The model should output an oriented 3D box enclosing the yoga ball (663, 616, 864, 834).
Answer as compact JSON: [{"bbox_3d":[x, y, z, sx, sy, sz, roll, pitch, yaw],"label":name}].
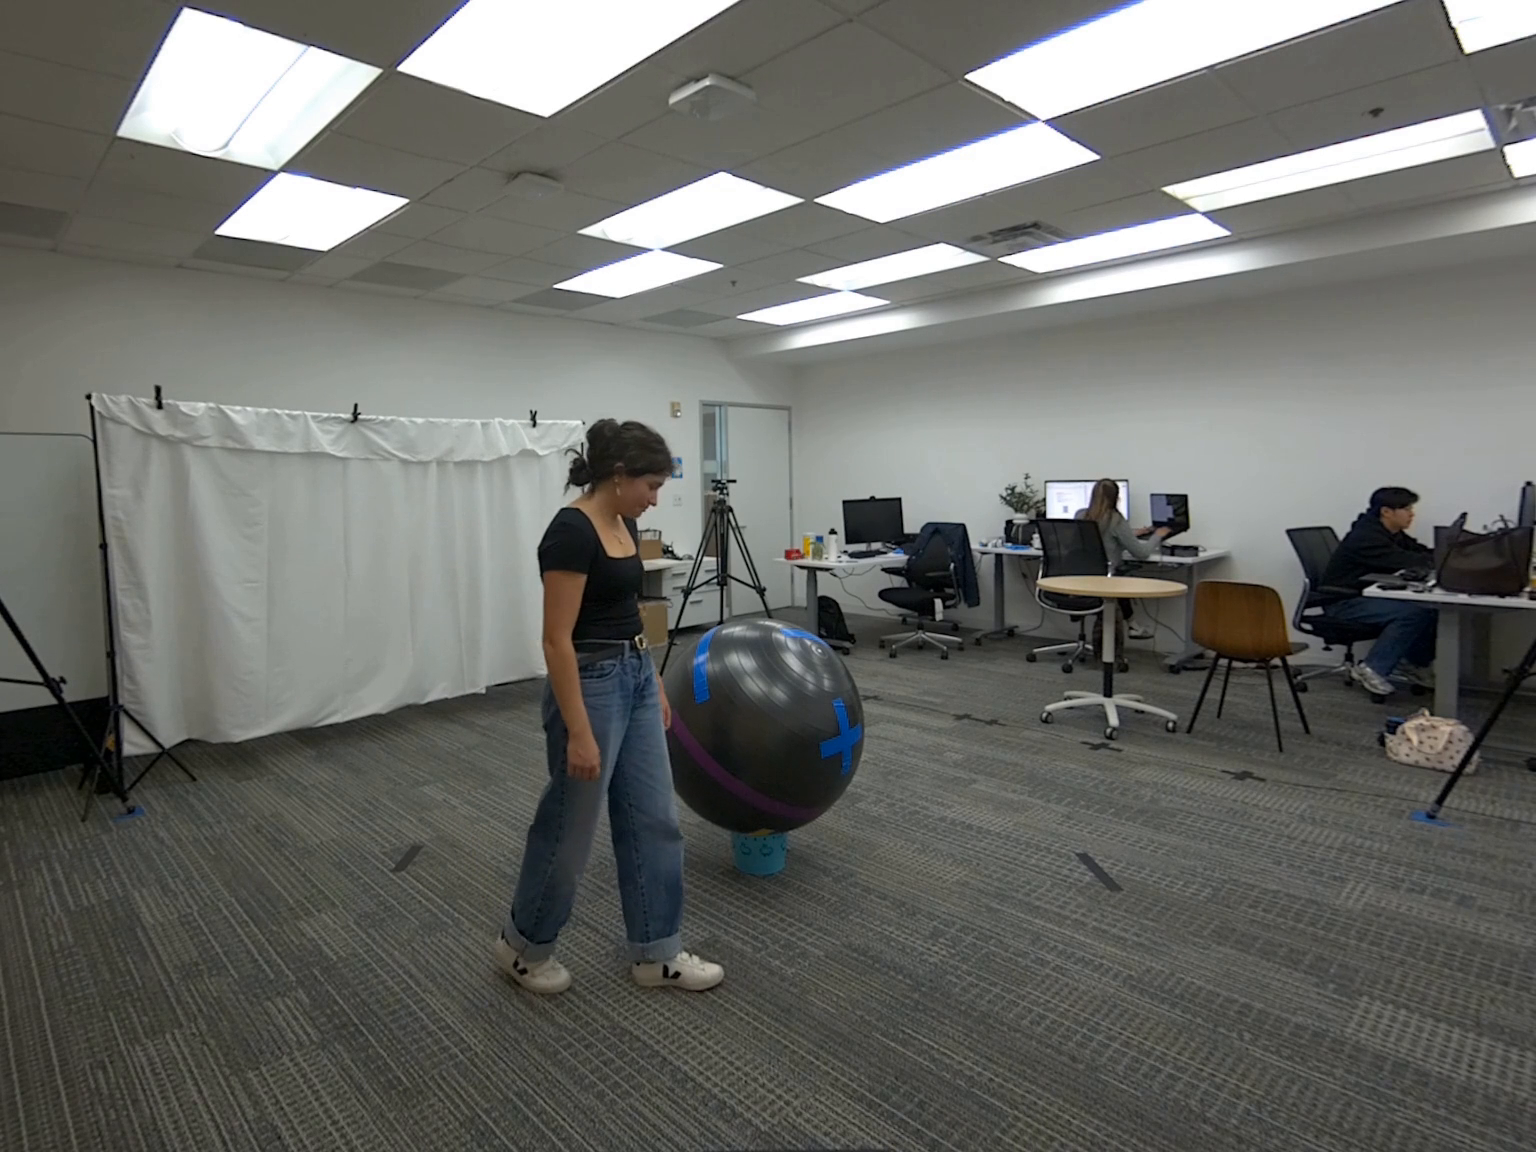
[{"bbox_3d":[-0.034,0.534,3.085,0.757,0.755,0.762,-1,5,-2],"label":"yoga ball"}]
